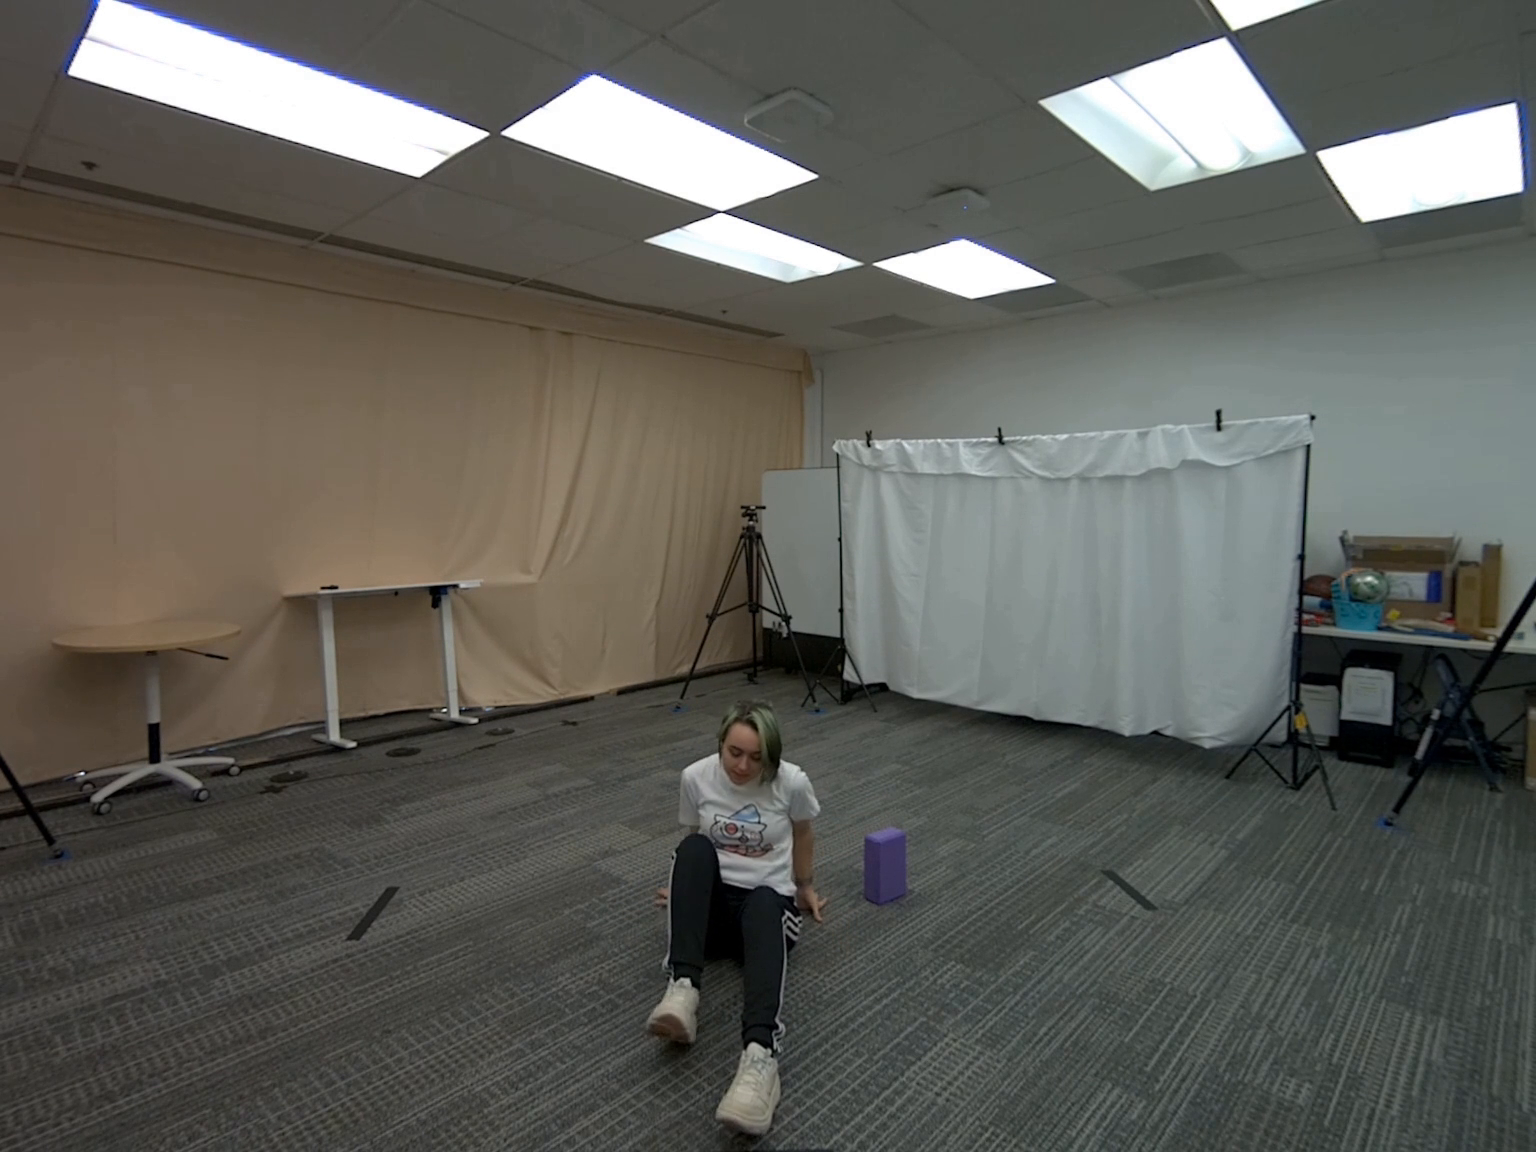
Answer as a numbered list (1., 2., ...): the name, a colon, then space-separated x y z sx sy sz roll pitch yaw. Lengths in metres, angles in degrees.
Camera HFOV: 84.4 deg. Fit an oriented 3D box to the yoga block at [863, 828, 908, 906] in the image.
1. yoga block: 0.420 1.022 2.988 0.144 0.229 0.079 -2 2 -38
